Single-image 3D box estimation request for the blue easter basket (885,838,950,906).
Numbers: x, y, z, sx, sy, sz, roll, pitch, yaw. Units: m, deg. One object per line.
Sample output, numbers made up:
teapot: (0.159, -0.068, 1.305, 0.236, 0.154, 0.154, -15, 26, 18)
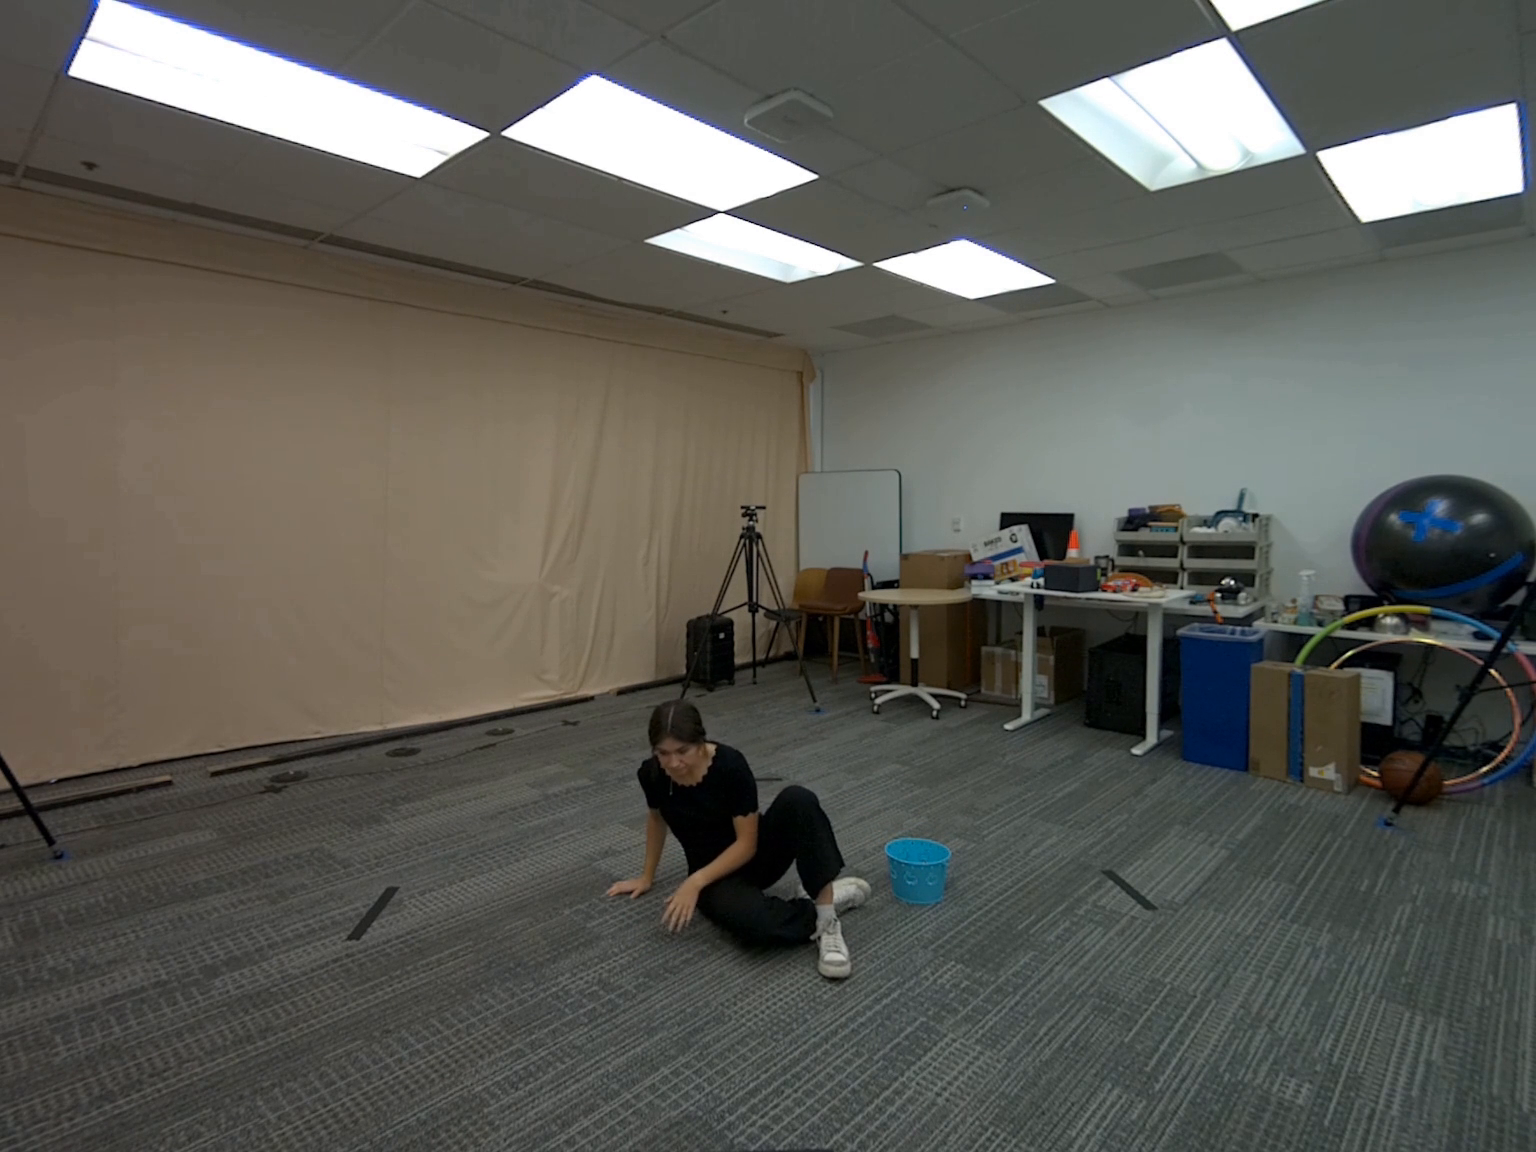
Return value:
blue easter basket: (0.549, 1.060, 3.018, 0.243, 0.155, 0.244, -1, 4, -2)
